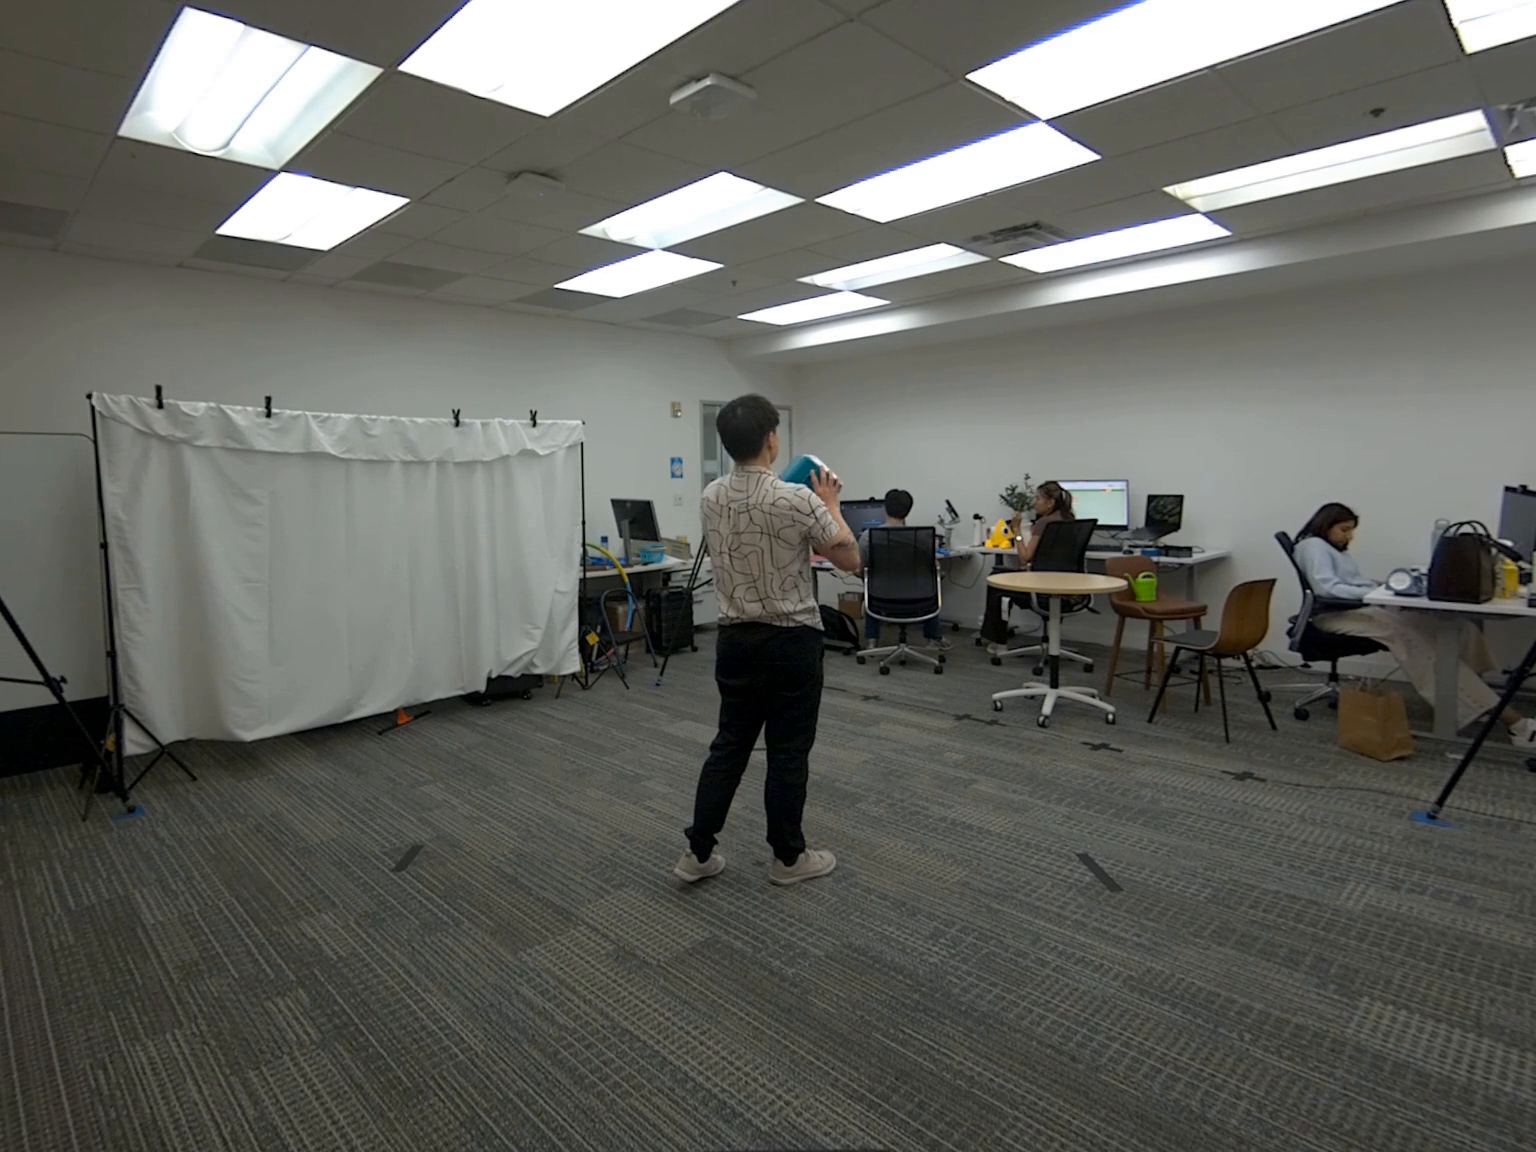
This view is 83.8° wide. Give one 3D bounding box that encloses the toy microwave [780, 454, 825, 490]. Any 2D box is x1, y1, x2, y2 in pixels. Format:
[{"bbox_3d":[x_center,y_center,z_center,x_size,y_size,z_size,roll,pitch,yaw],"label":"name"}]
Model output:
[{"bbox_3d":[0.173,-0.354,3.162,0.182,0.152,0.289,38,4,-8],"label":"toy microwave"}]
